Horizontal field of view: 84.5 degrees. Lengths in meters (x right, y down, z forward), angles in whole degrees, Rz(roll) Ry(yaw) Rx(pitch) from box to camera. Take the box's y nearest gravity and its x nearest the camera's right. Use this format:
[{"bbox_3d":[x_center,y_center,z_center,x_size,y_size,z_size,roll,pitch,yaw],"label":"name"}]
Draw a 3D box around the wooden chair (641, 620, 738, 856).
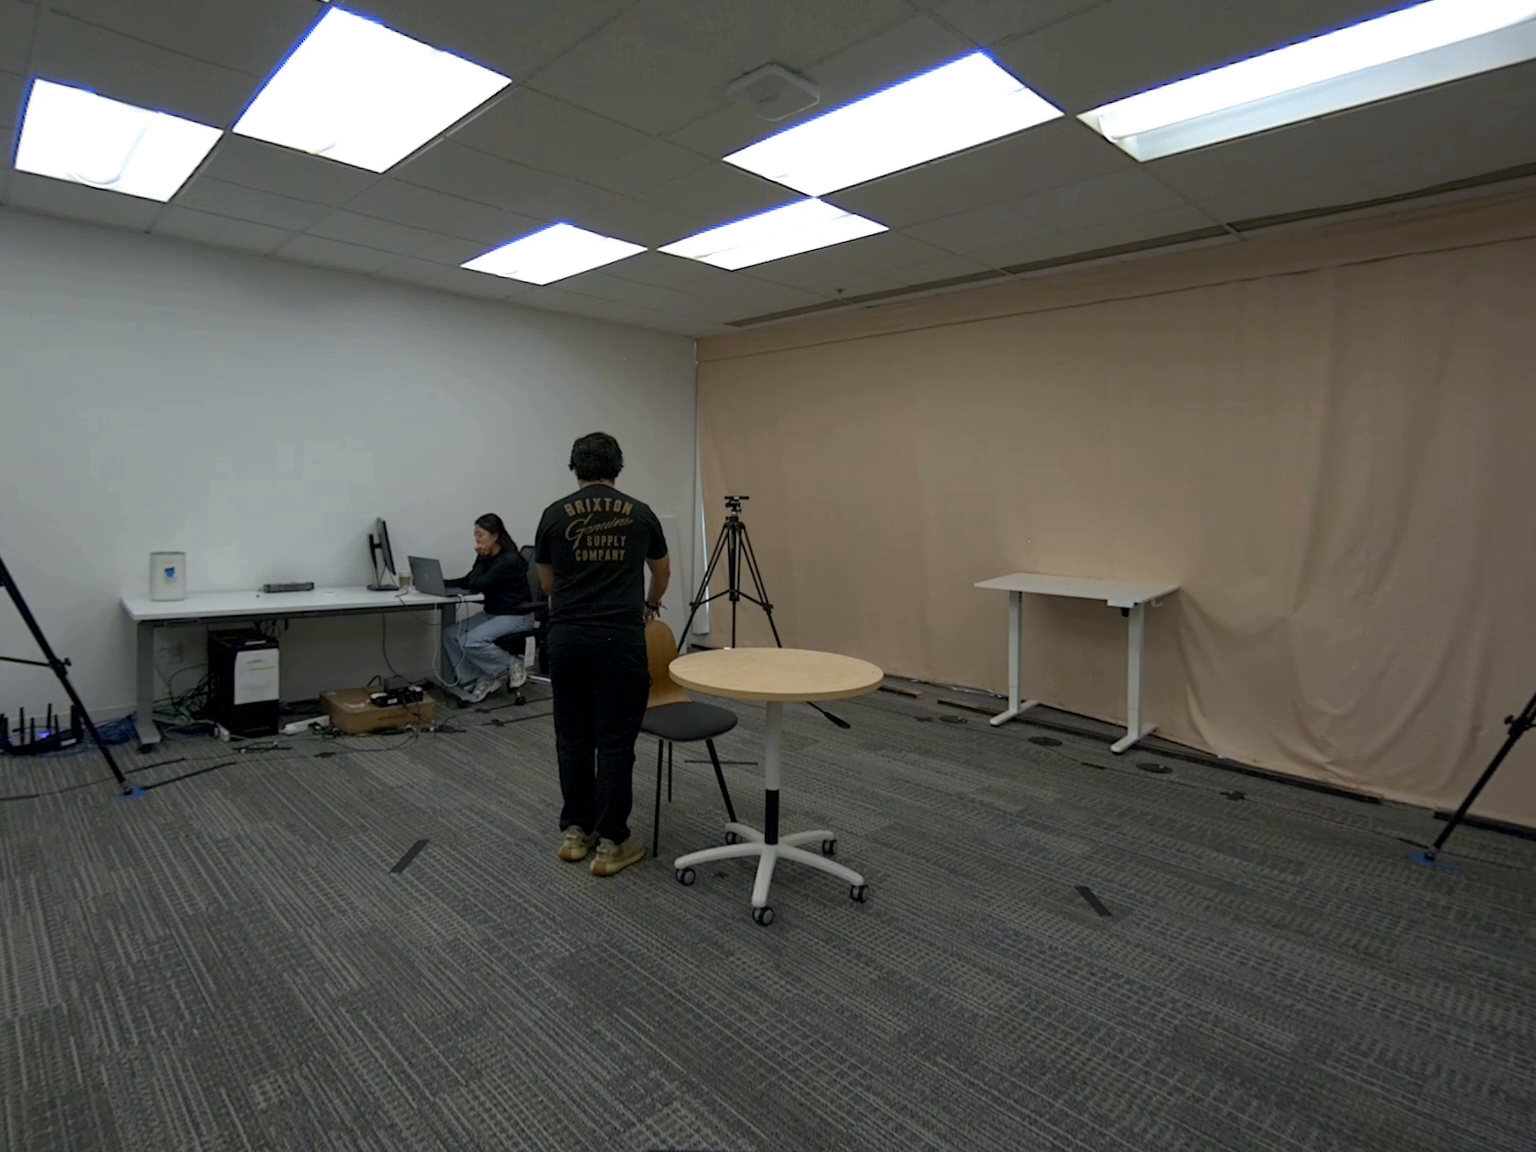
[{"bbox_3d":[-0.430,0.629,3.526,0.535,0.877,0.467,-1,0,45],"label":"wooden chair"}]
